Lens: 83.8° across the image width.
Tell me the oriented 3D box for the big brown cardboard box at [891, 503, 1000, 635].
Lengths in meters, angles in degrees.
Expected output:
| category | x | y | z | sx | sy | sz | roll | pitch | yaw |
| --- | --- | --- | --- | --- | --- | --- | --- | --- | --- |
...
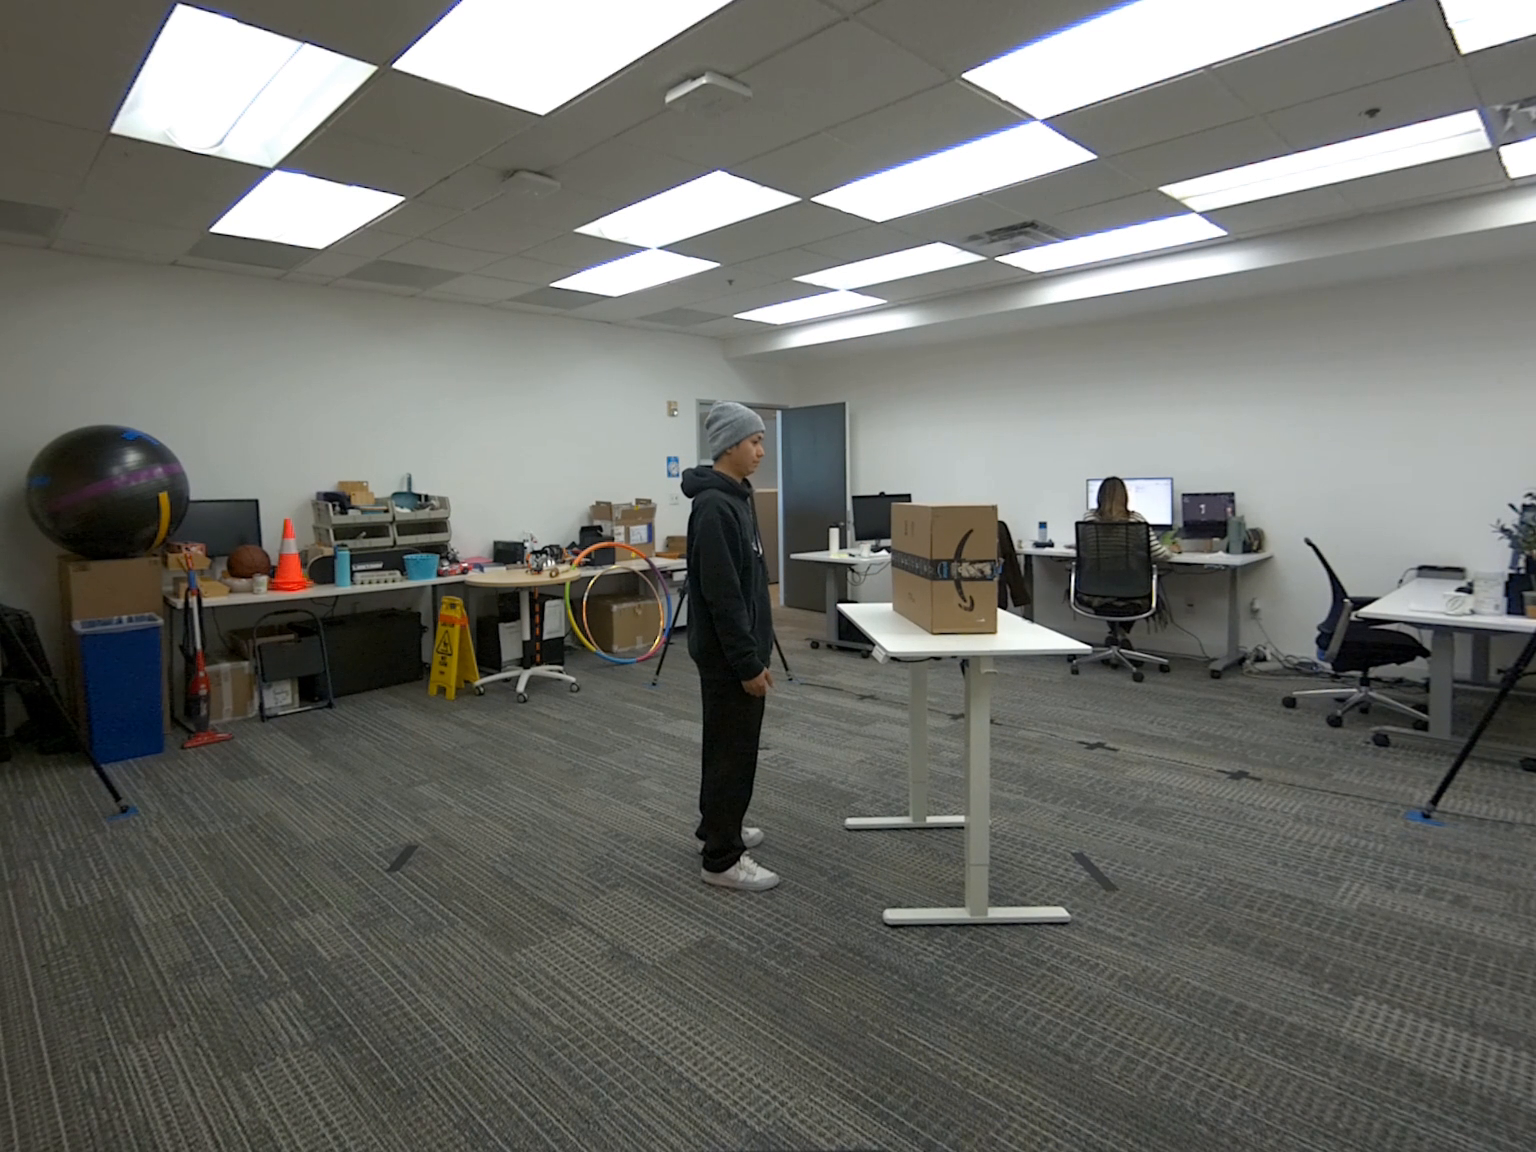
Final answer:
| category | x | y | z | sx | sy | sz | roll | pitch | yaw |
| --- | --- | --- | --- | --- | --- | --- | --- | --- | --- |
| big brown cardboard box | 0.606 | -0.048 | 3.018 | 0.232 | 0.416 | 0.593 | 0 | 5 | -4 |
